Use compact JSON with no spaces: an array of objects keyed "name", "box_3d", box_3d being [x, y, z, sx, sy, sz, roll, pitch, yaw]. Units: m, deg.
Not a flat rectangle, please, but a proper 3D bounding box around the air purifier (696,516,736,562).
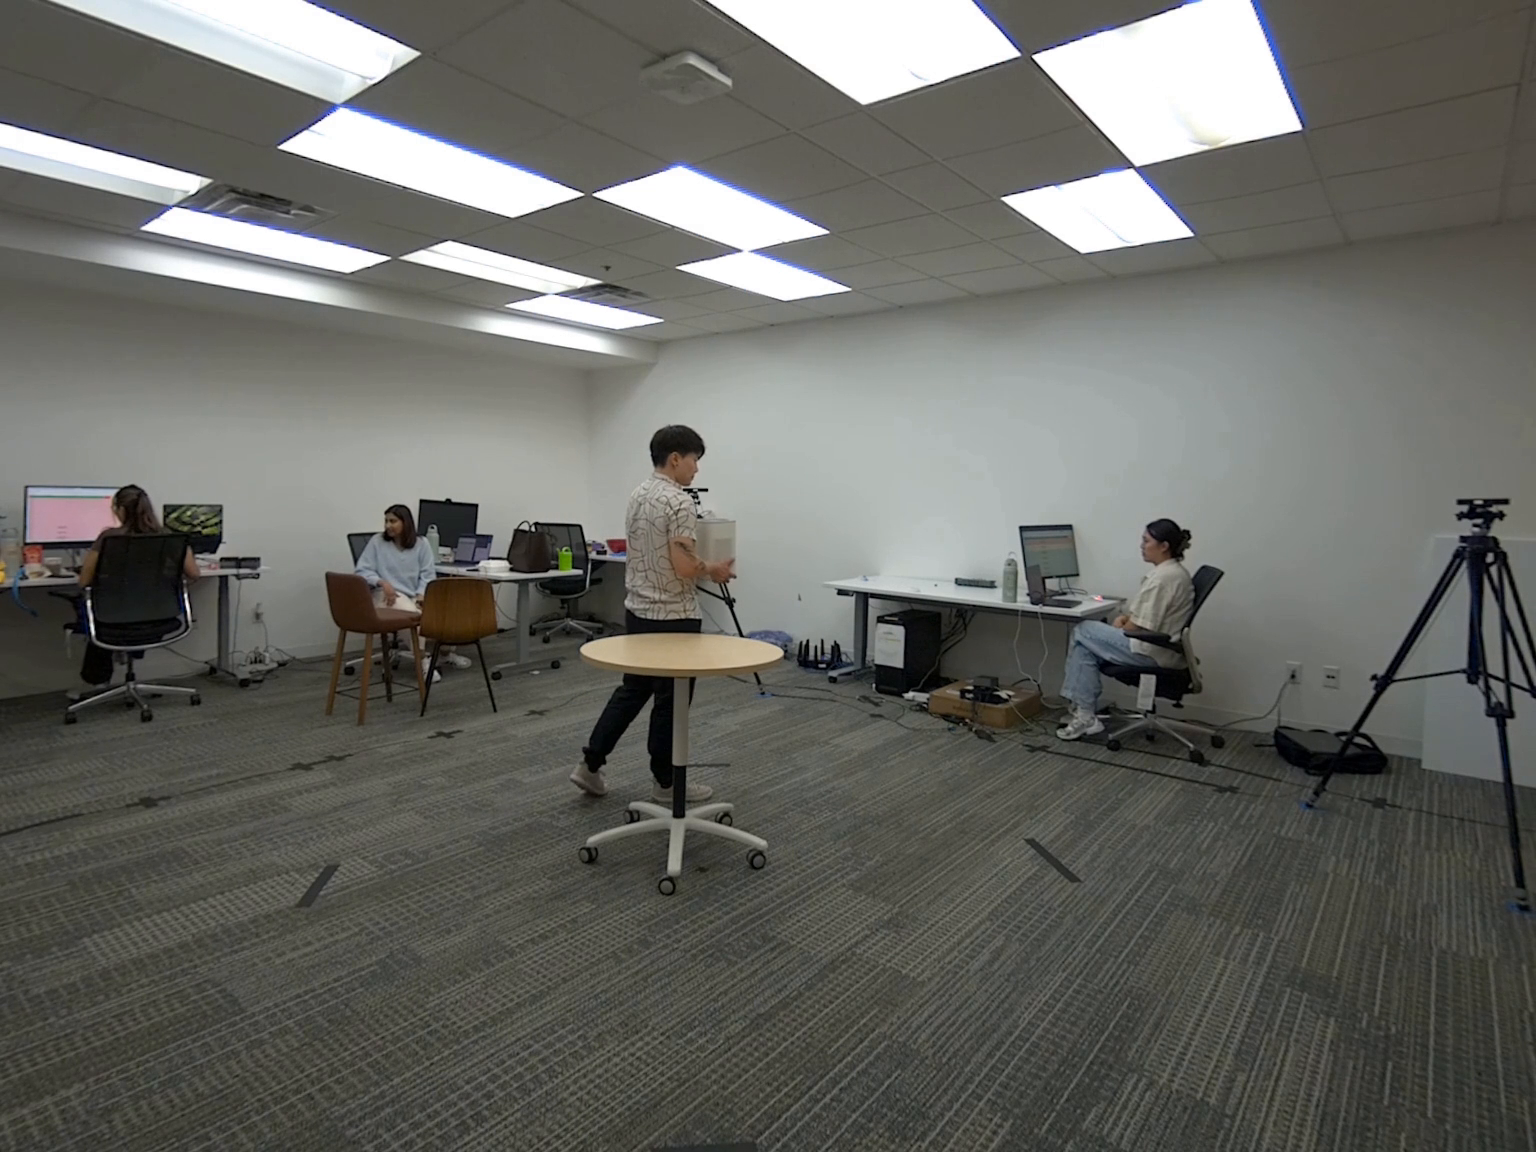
[{"name":"air purifier","box_3d":[-0.260,-0.122,3.858,0.167,0.264,0.176,-5,7,-32]}]
